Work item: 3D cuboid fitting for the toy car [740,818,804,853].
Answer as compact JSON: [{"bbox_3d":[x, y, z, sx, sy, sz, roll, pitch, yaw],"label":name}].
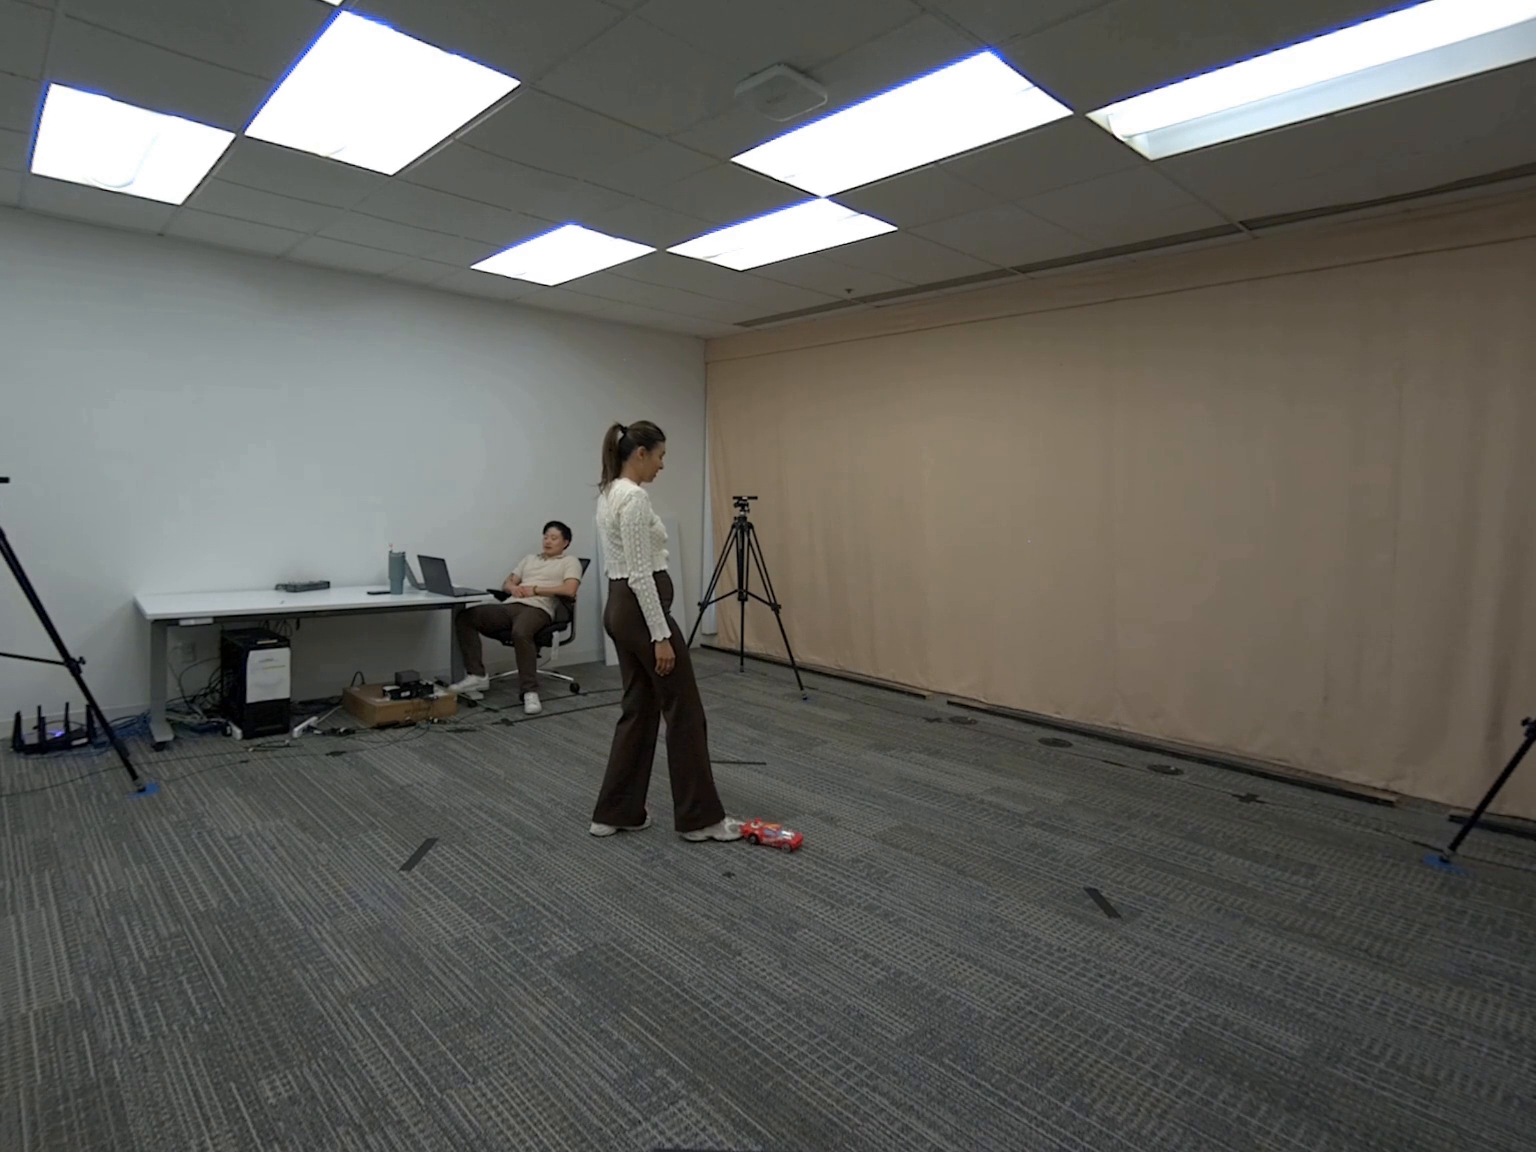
[{"bbox_3d":[0.004,1.049,3.397,0.260,0.083,0.128,16,10,26],"label":"toy car"}]
